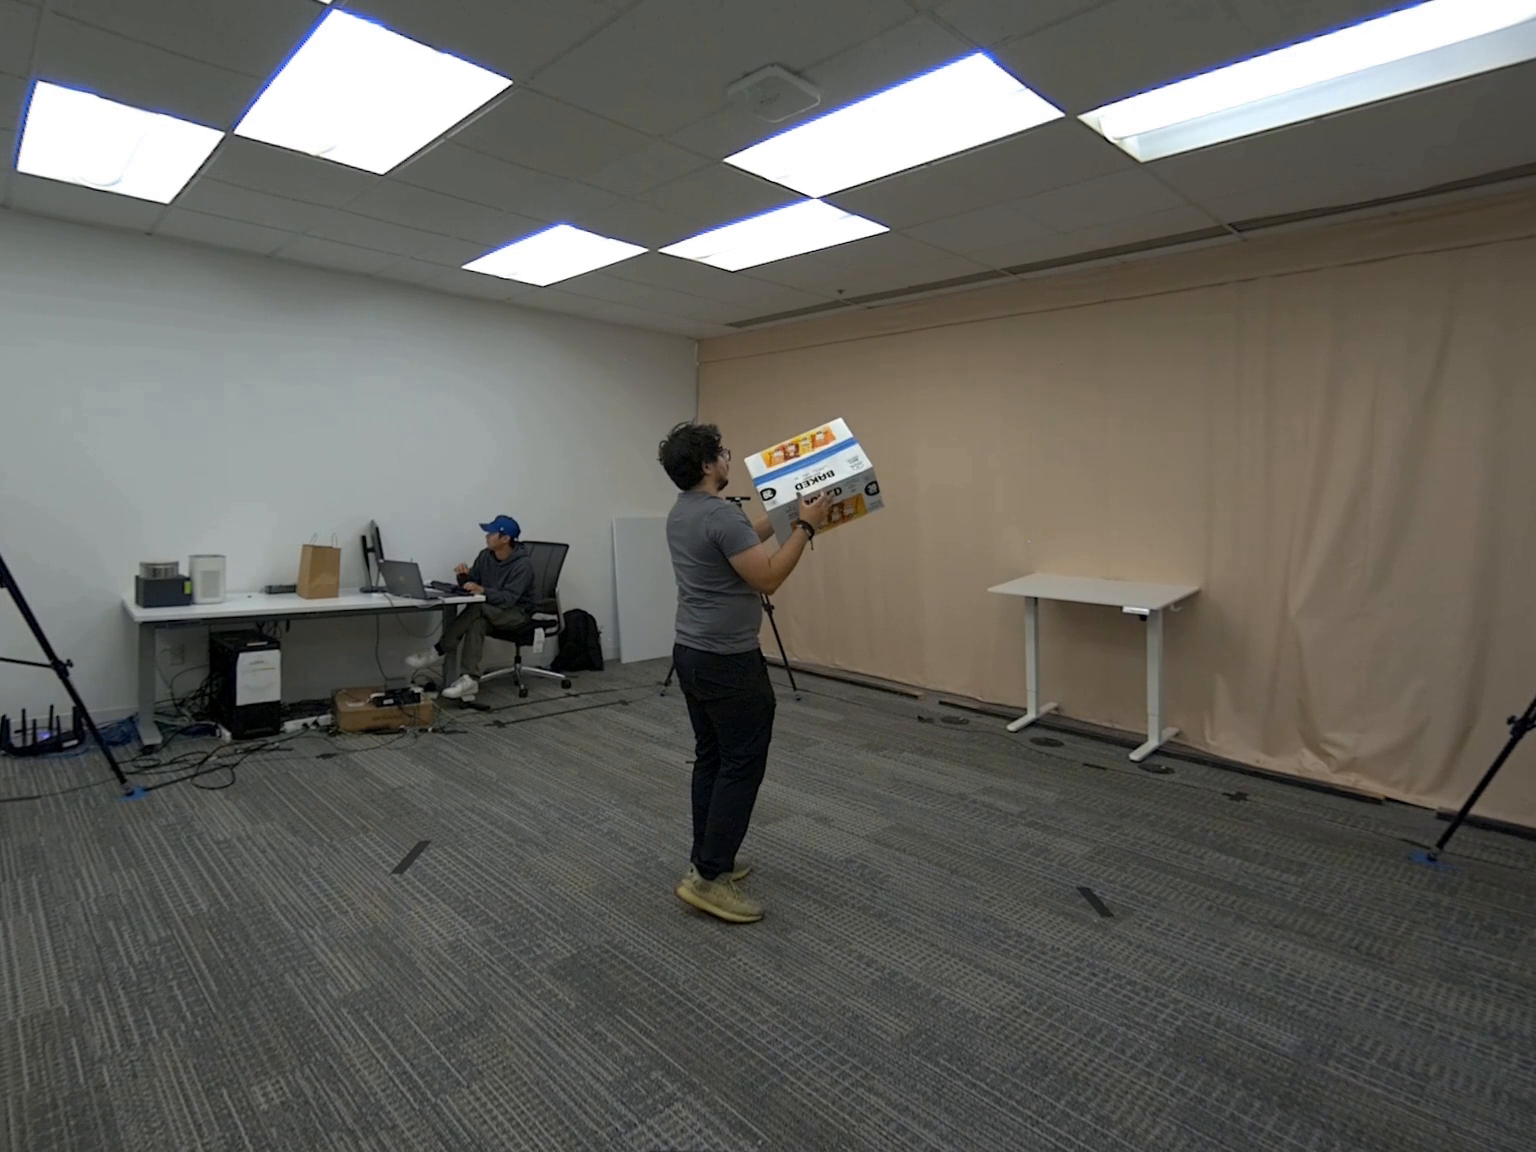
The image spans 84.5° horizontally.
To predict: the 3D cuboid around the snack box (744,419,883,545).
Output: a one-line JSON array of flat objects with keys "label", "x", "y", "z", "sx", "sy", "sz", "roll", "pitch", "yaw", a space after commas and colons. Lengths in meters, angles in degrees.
[{"label": "snack box", "x": 0.161, "y": -0.343, "z": 3.108, "sx": 0.405, "sy": 0.199, "sz": 0.350, "roll": -23, "pitch": 42, "yaw": 2}]
